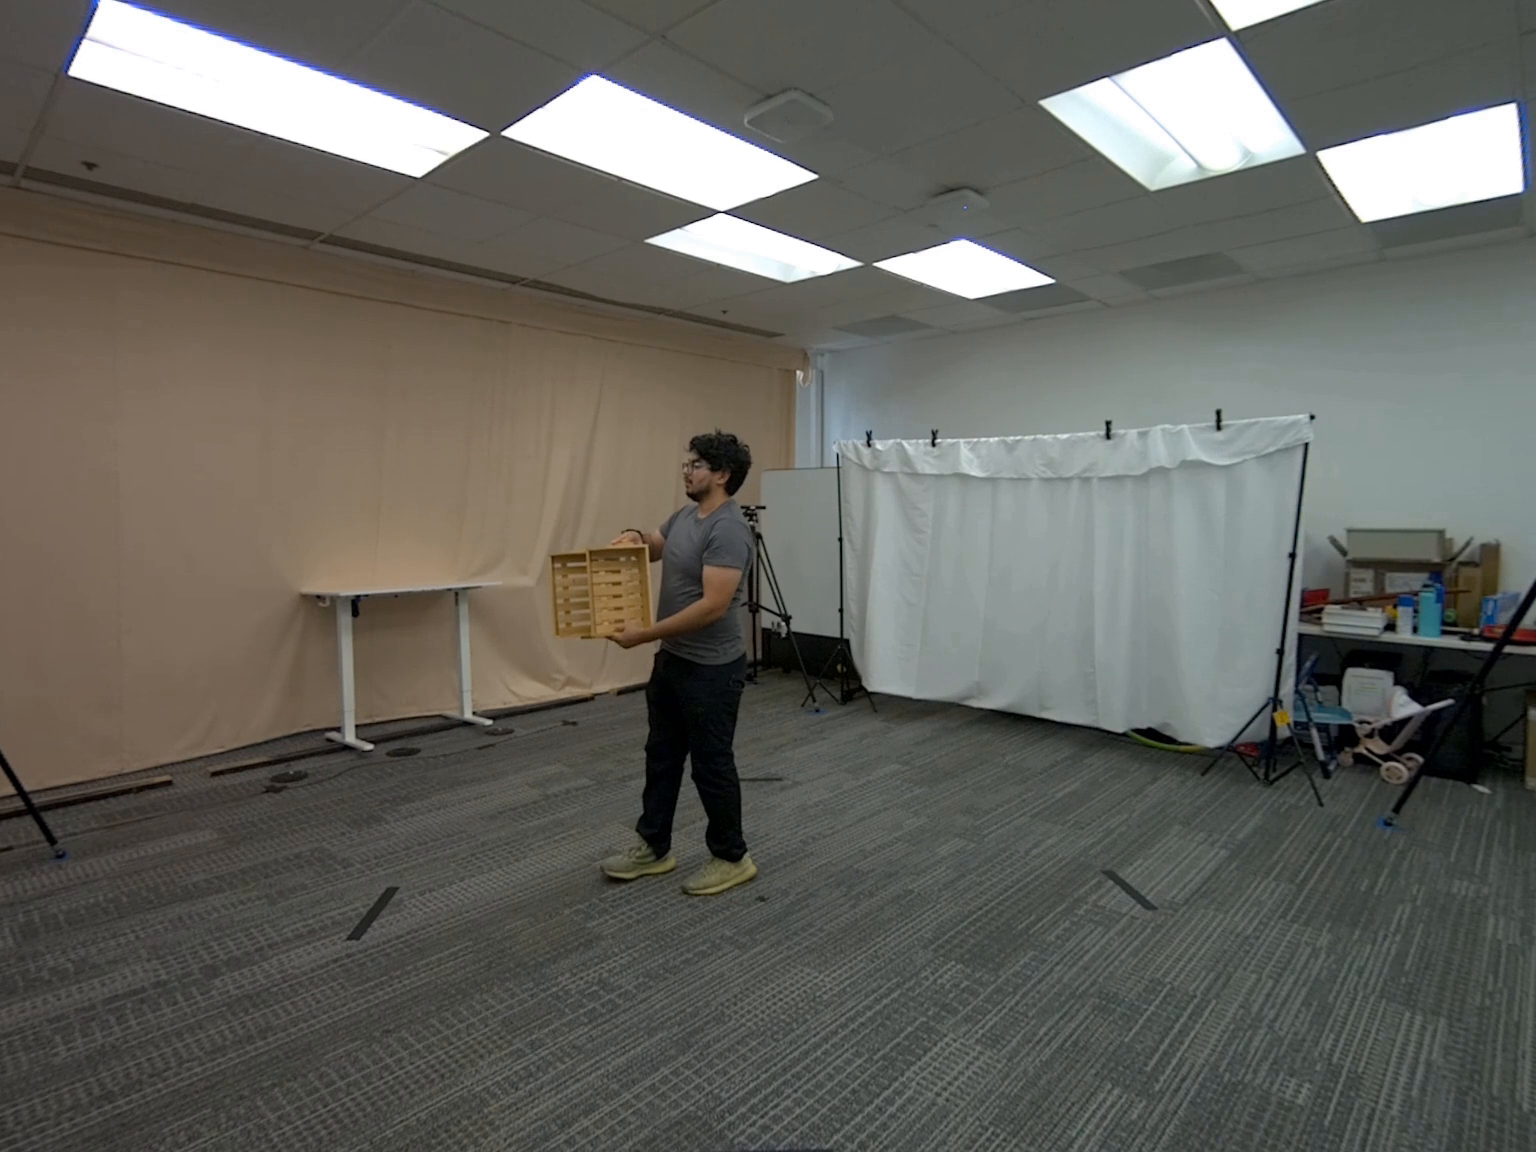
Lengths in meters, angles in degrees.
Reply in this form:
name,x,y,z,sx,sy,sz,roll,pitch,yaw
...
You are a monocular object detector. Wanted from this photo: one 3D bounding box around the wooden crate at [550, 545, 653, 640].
name,x,y,z,sx,sy,sz,roll,pitch,yaw
wooden crate,-0.591,0.057,2.957,0.294,0.325,0.280,-4,-2,-28
